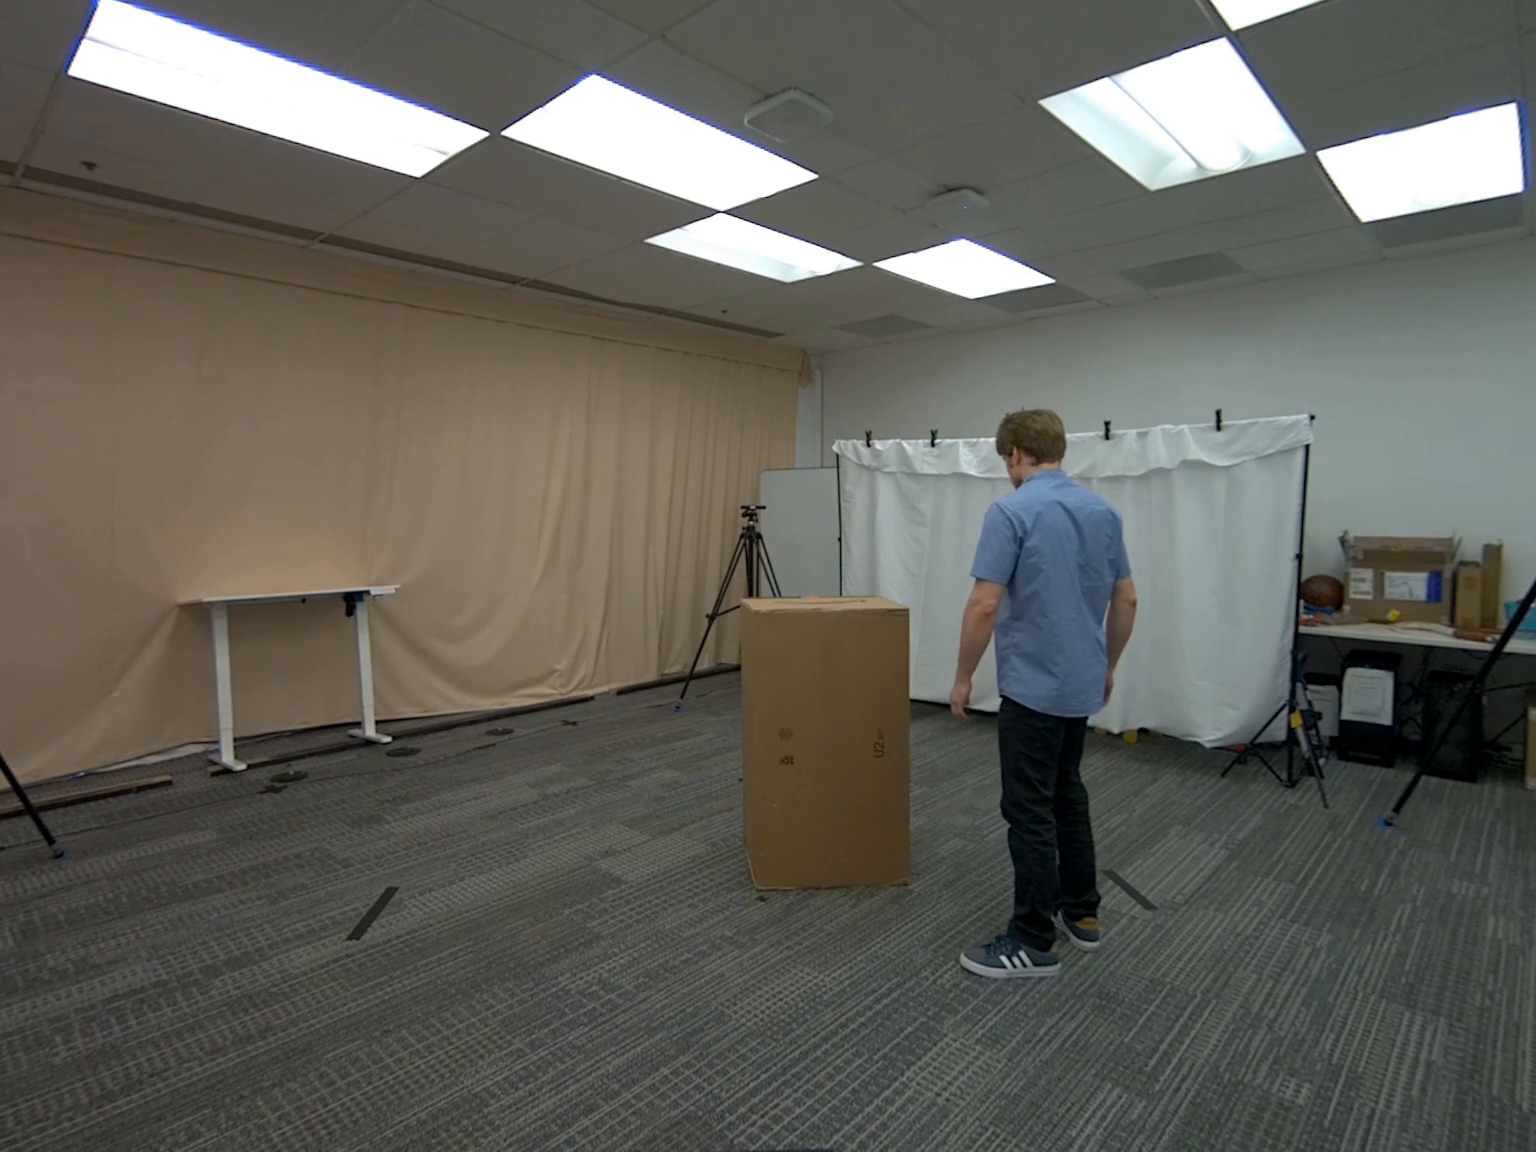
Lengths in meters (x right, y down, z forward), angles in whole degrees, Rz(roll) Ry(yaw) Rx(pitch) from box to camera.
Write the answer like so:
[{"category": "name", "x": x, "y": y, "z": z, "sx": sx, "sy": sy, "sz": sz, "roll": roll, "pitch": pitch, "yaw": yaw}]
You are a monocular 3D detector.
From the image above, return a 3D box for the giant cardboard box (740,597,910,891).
[{"category": "giant cardboard box", "x": 0.210, "y": 0.611, "z": 3.254, "sx": 0.575, "sy": 1.024, "sz": 0.429, "roll": 0, "pitch": 3, "yaw": -5}]
